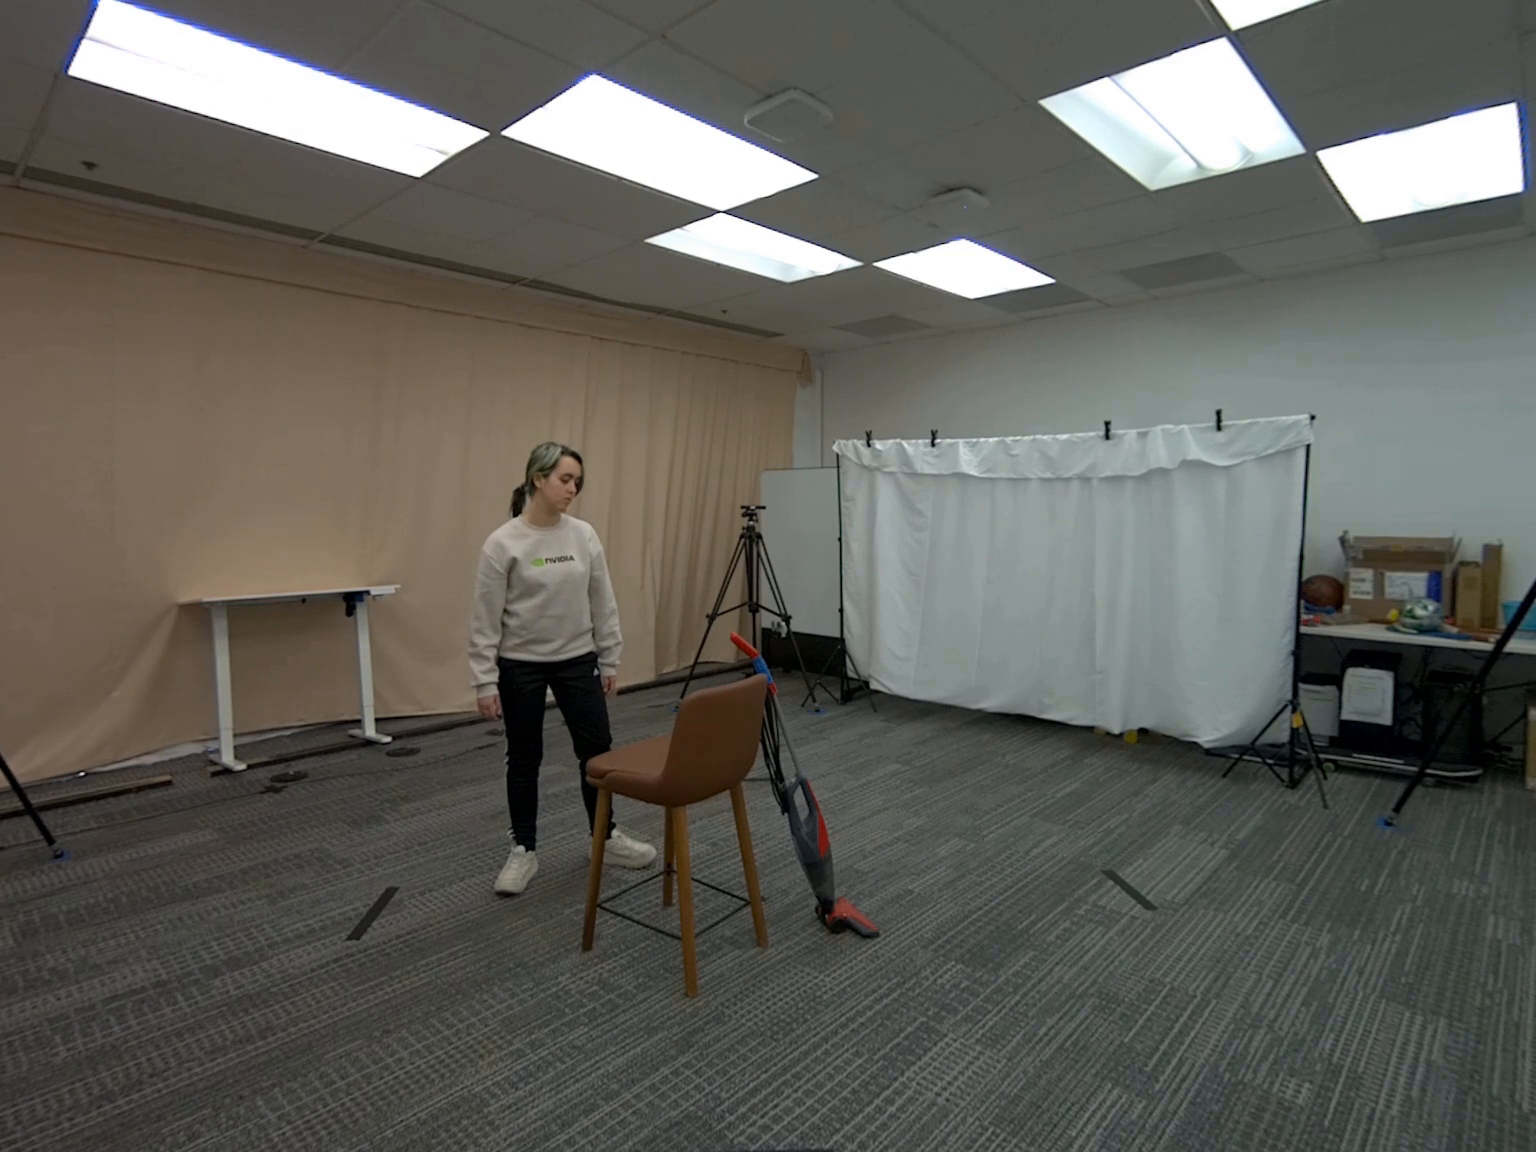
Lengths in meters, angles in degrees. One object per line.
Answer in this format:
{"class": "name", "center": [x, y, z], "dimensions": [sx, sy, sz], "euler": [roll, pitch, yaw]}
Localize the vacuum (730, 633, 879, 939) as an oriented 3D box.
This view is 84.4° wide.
{"class": "vacuum", "center": [0.087, 0.673, 2.735], "dimensions": [0.142, 1.040, 0.258], "euler": [-22, 10, -18]}
